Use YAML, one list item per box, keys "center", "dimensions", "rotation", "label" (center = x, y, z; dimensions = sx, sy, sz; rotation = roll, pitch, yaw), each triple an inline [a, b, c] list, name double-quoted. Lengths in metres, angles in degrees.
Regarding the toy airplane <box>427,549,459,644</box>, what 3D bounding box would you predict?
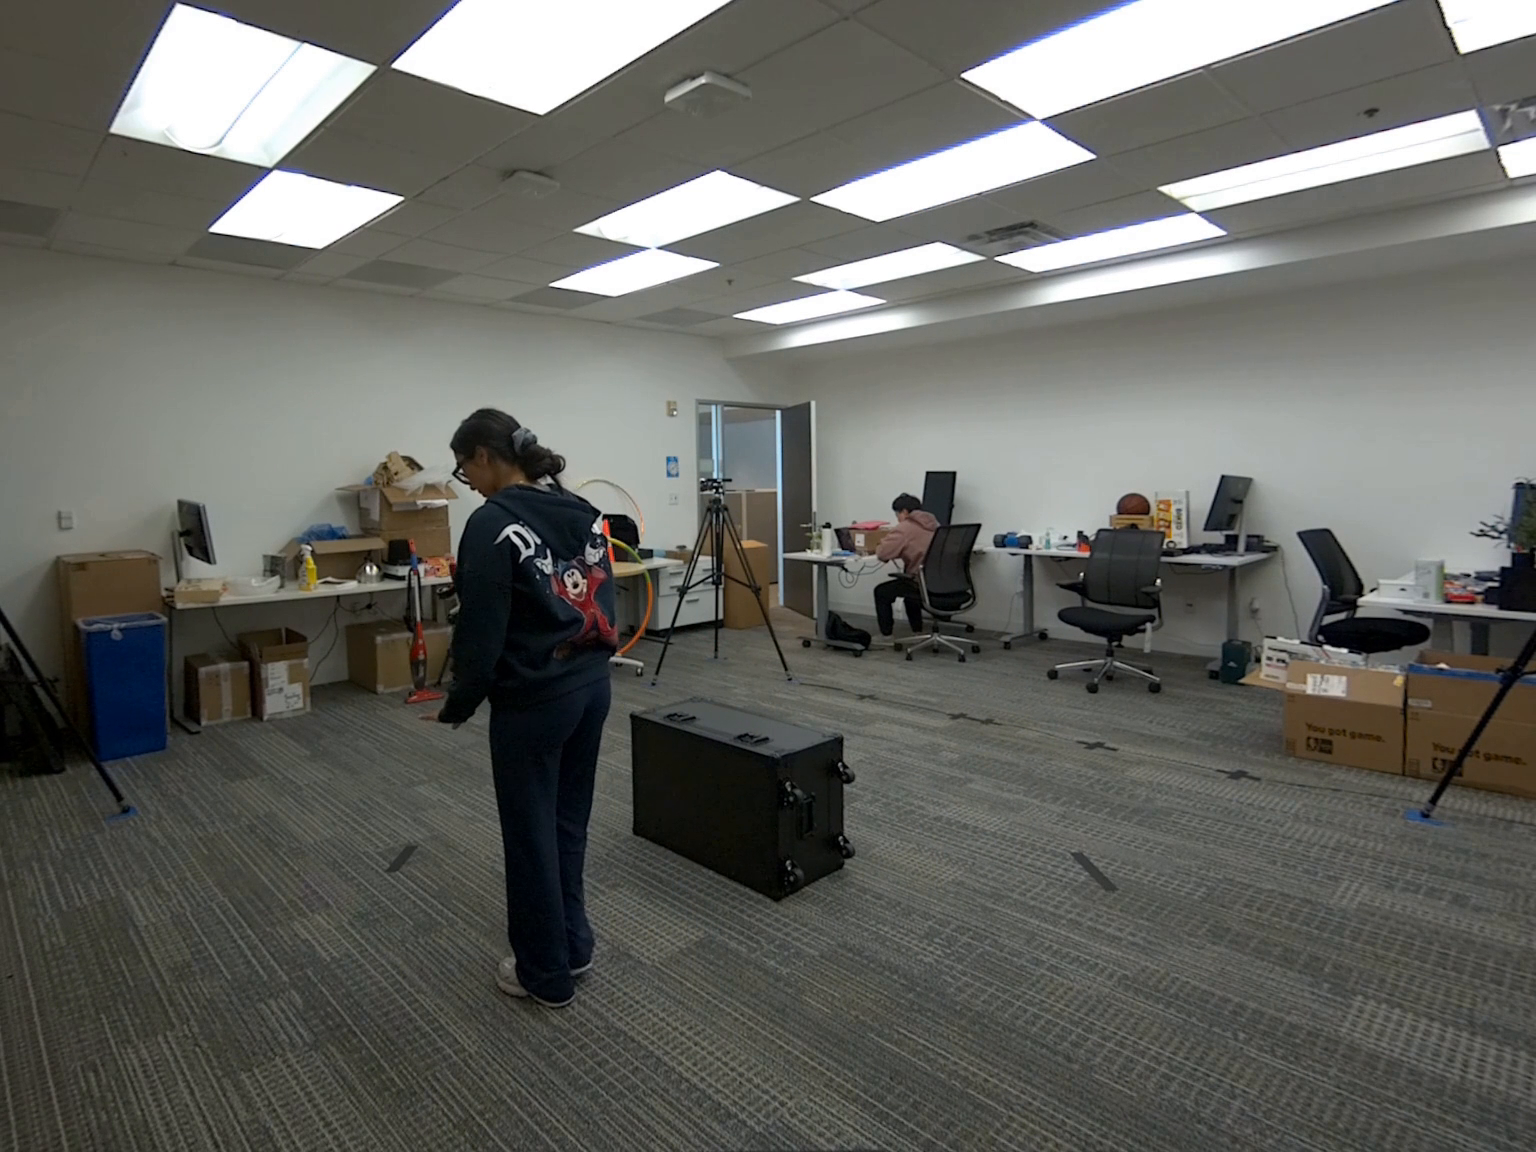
- center: [-0.879, 0.091, 2.604]
  dimensions: [0.267, 0.246, 0.155]
  rotation: [27, 38, 24]
  label: "toy airplane"
